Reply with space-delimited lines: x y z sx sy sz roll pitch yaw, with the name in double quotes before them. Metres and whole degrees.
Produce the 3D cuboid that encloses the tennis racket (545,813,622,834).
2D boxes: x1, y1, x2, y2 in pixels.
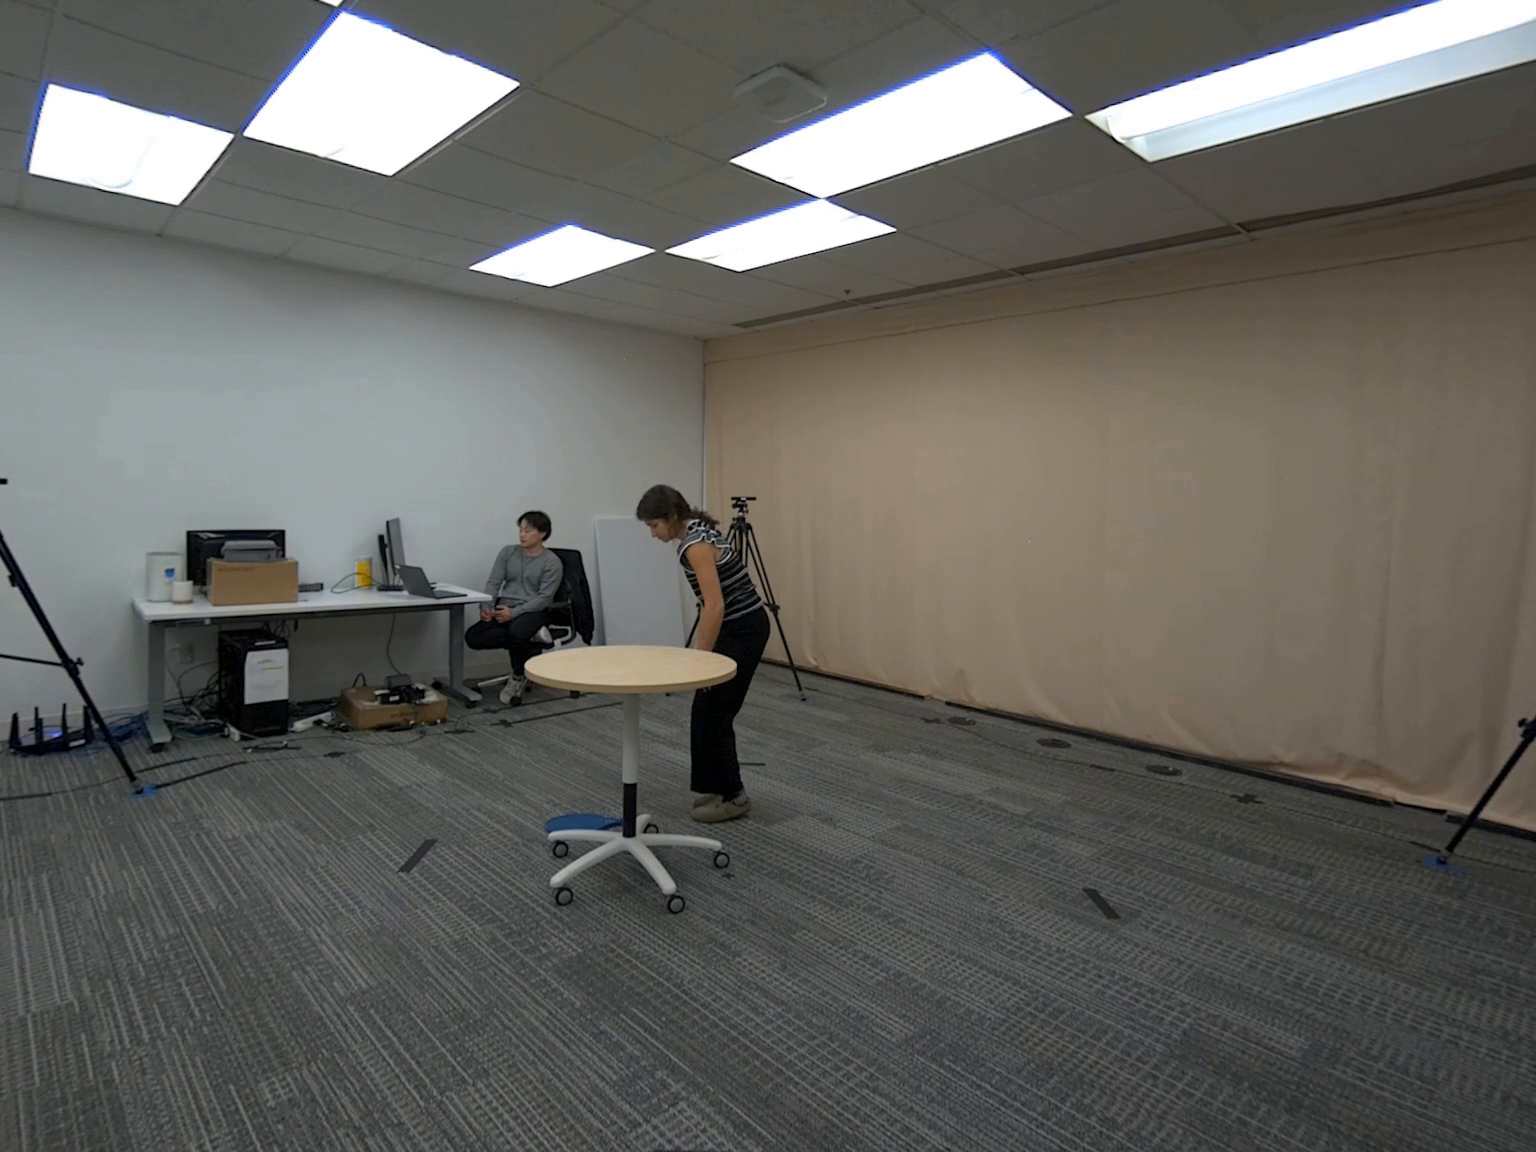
"tennis racket" -0.715 1.023 3.520 0.431 0.031 0.215 0 5 -5
